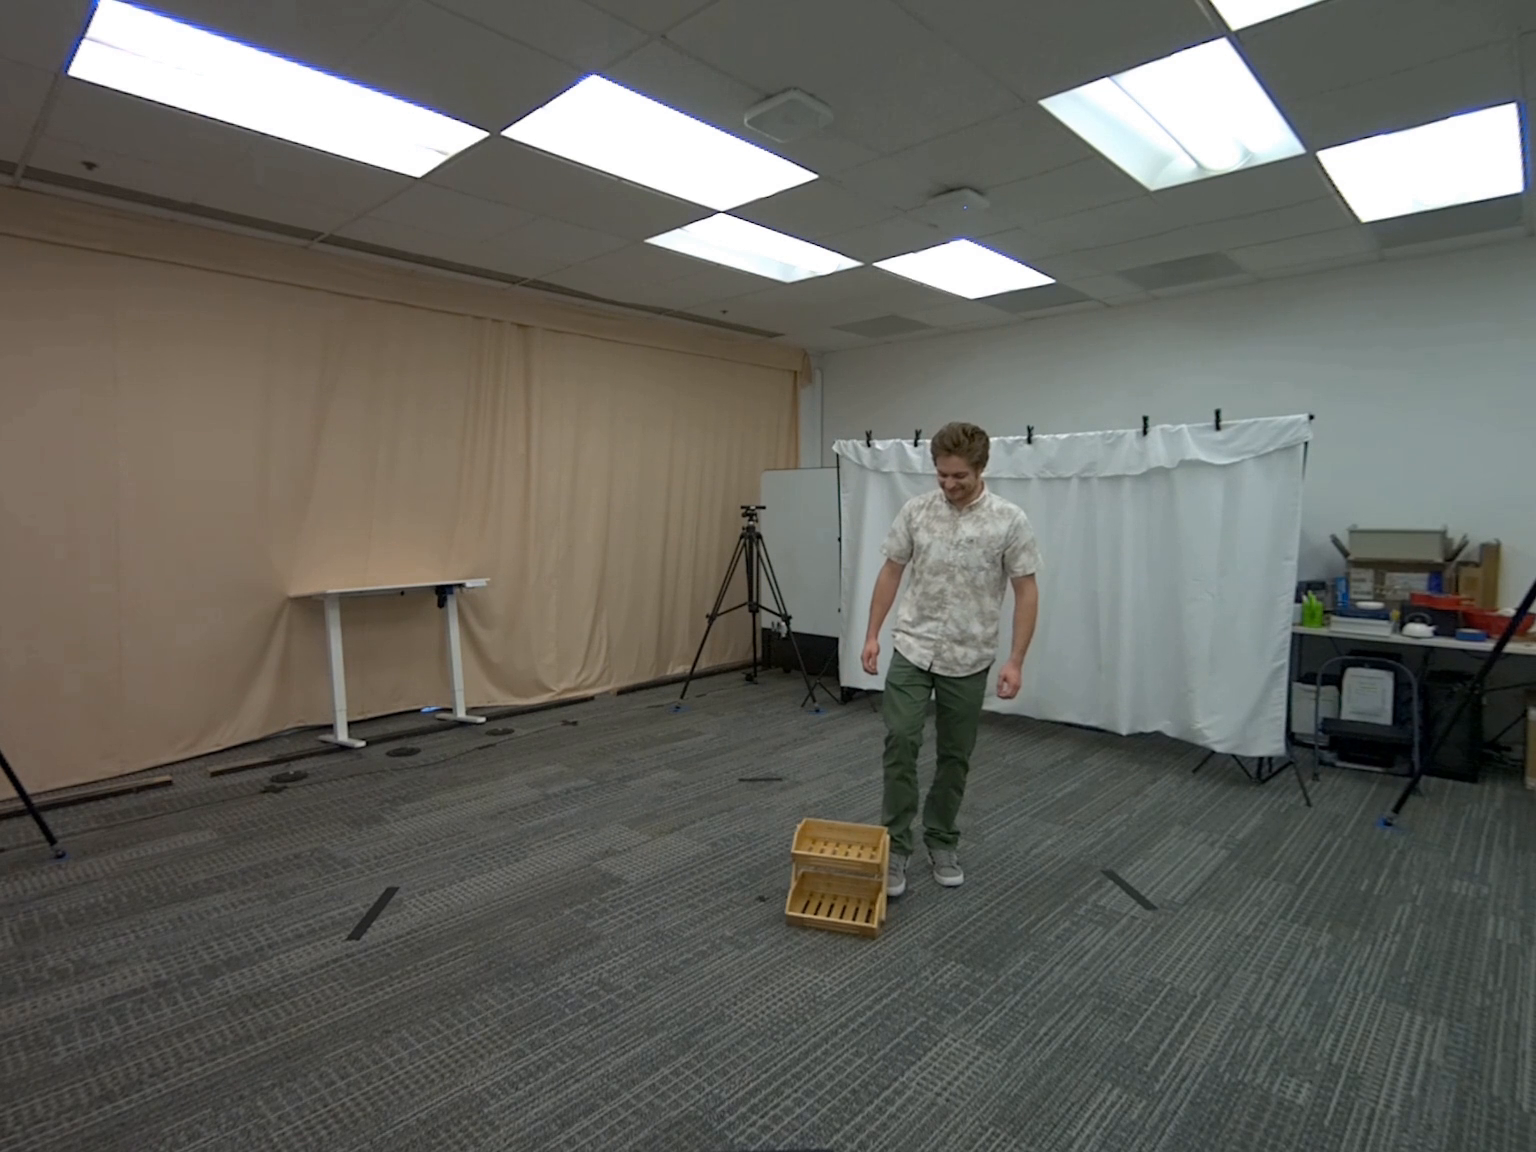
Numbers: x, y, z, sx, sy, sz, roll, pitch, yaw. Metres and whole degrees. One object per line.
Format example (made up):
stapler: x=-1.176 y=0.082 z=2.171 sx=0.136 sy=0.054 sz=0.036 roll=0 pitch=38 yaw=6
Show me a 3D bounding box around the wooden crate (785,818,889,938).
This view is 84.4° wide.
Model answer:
wooden crate: x=0.243 y=1.019 z=2.865 sx=0.330 sy=0.273 sz=0.297 roll=1 pitch=4 yaw=16
